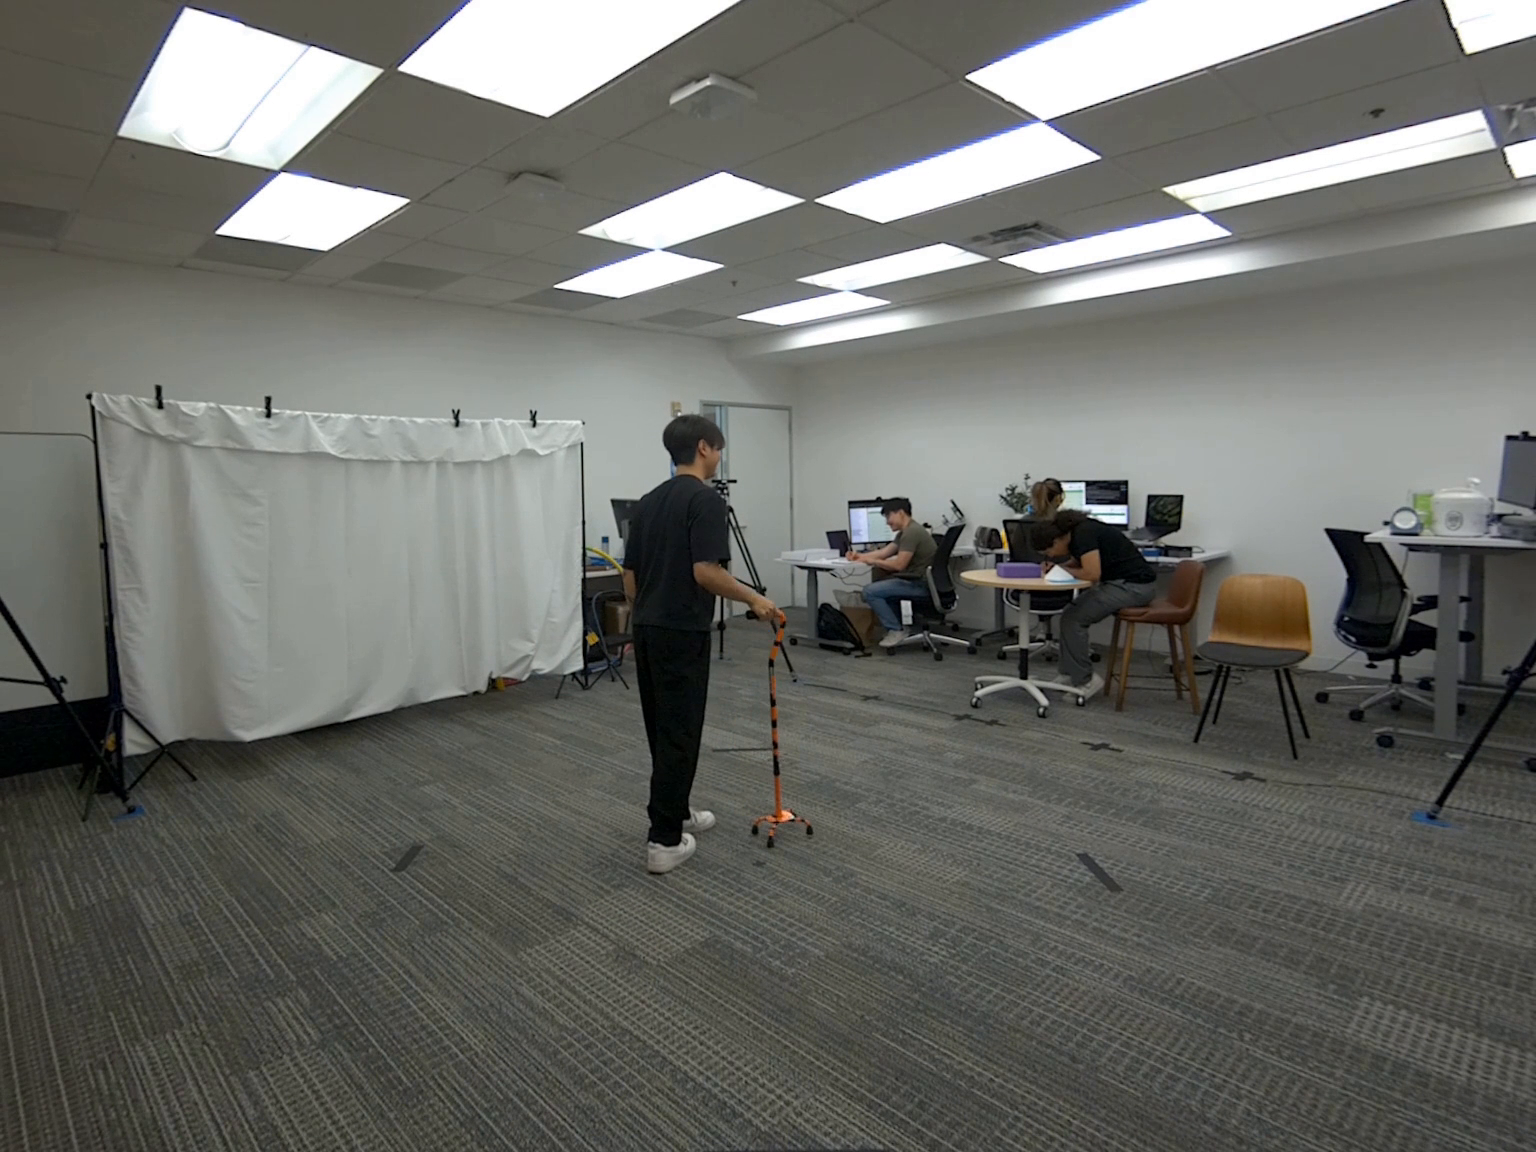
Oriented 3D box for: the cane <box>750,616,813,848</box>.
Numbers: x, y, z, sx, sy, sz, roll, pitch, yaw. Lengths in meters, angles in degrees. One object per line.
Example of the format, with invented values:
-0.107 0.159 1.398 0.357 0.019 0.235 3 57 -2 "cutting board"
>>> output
0.027 0.564 3.270 0.202 0.899 0.156 -7 11 -27 "cane"
